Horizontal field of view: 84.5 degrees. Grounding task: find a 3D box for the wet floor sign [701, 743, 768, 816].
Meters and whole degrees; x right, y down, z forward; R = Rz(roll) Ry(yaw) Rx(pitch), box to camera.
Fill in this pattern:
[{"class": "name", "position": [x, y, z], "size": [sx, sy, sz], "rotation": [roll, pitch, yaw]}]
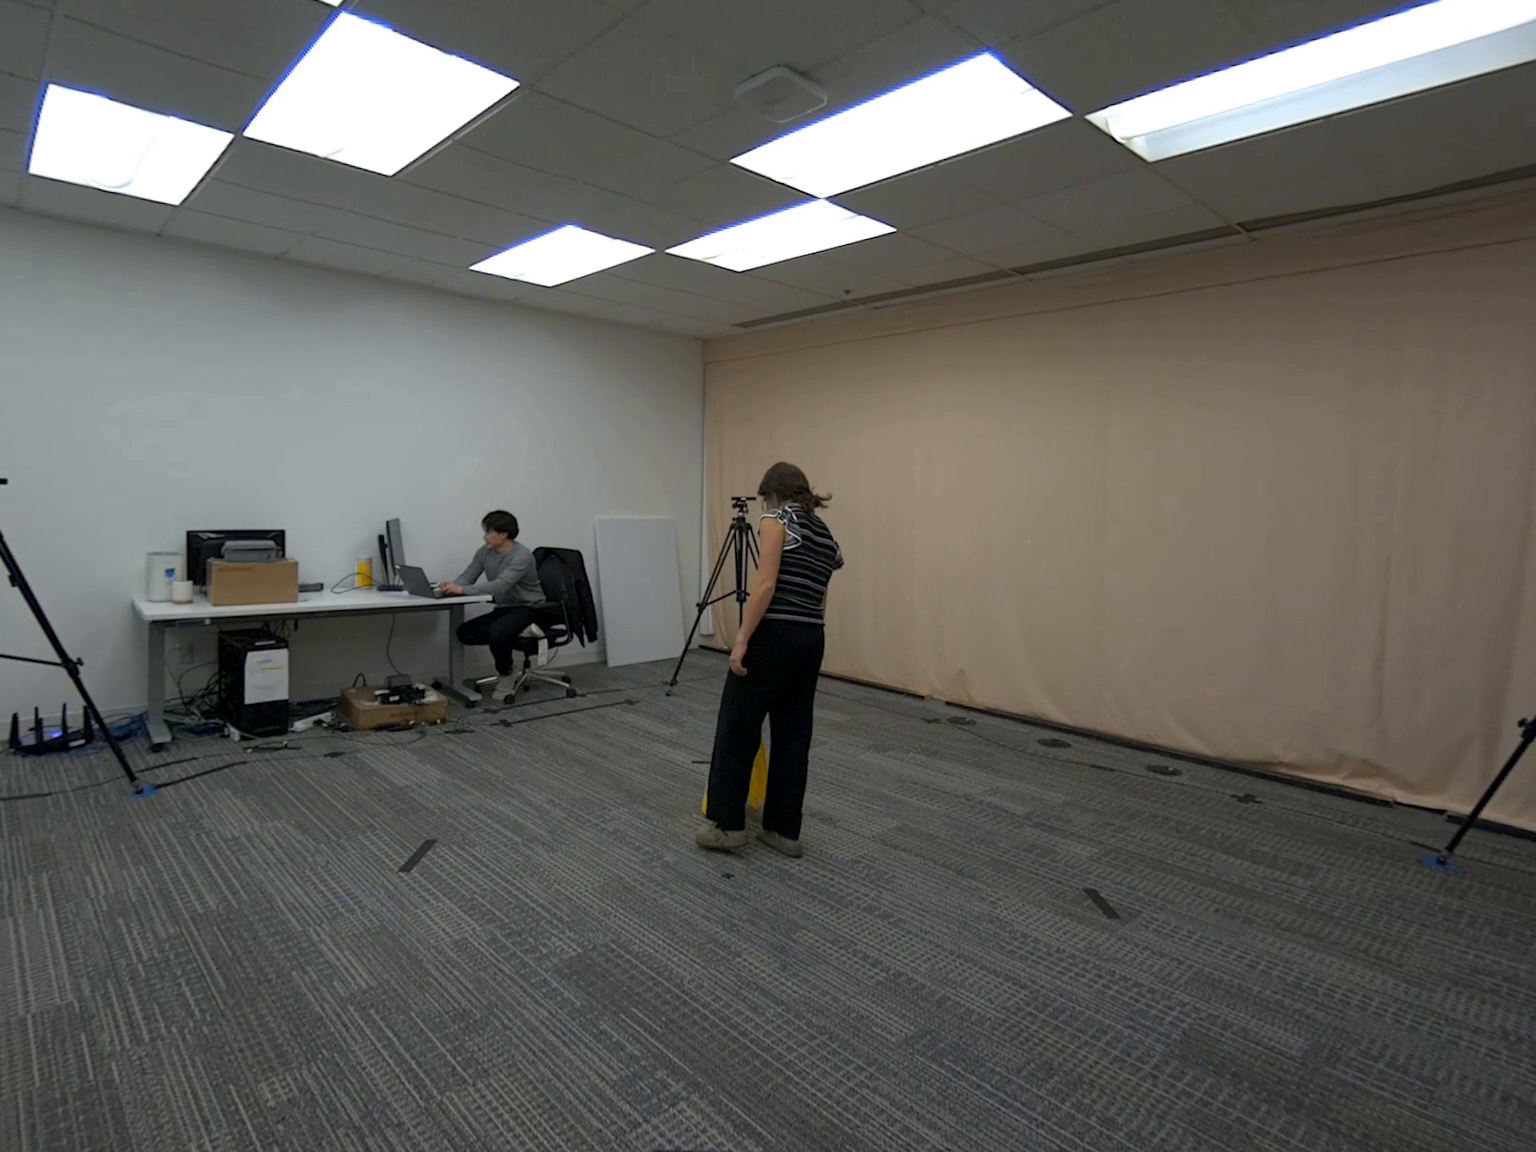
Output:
[{"class": "wet floor sign", "position": [-0.127, 0.736, 3.666], "size": [0.285, 0.645, 0.287], "rotation": [2, 3, -21]}]
